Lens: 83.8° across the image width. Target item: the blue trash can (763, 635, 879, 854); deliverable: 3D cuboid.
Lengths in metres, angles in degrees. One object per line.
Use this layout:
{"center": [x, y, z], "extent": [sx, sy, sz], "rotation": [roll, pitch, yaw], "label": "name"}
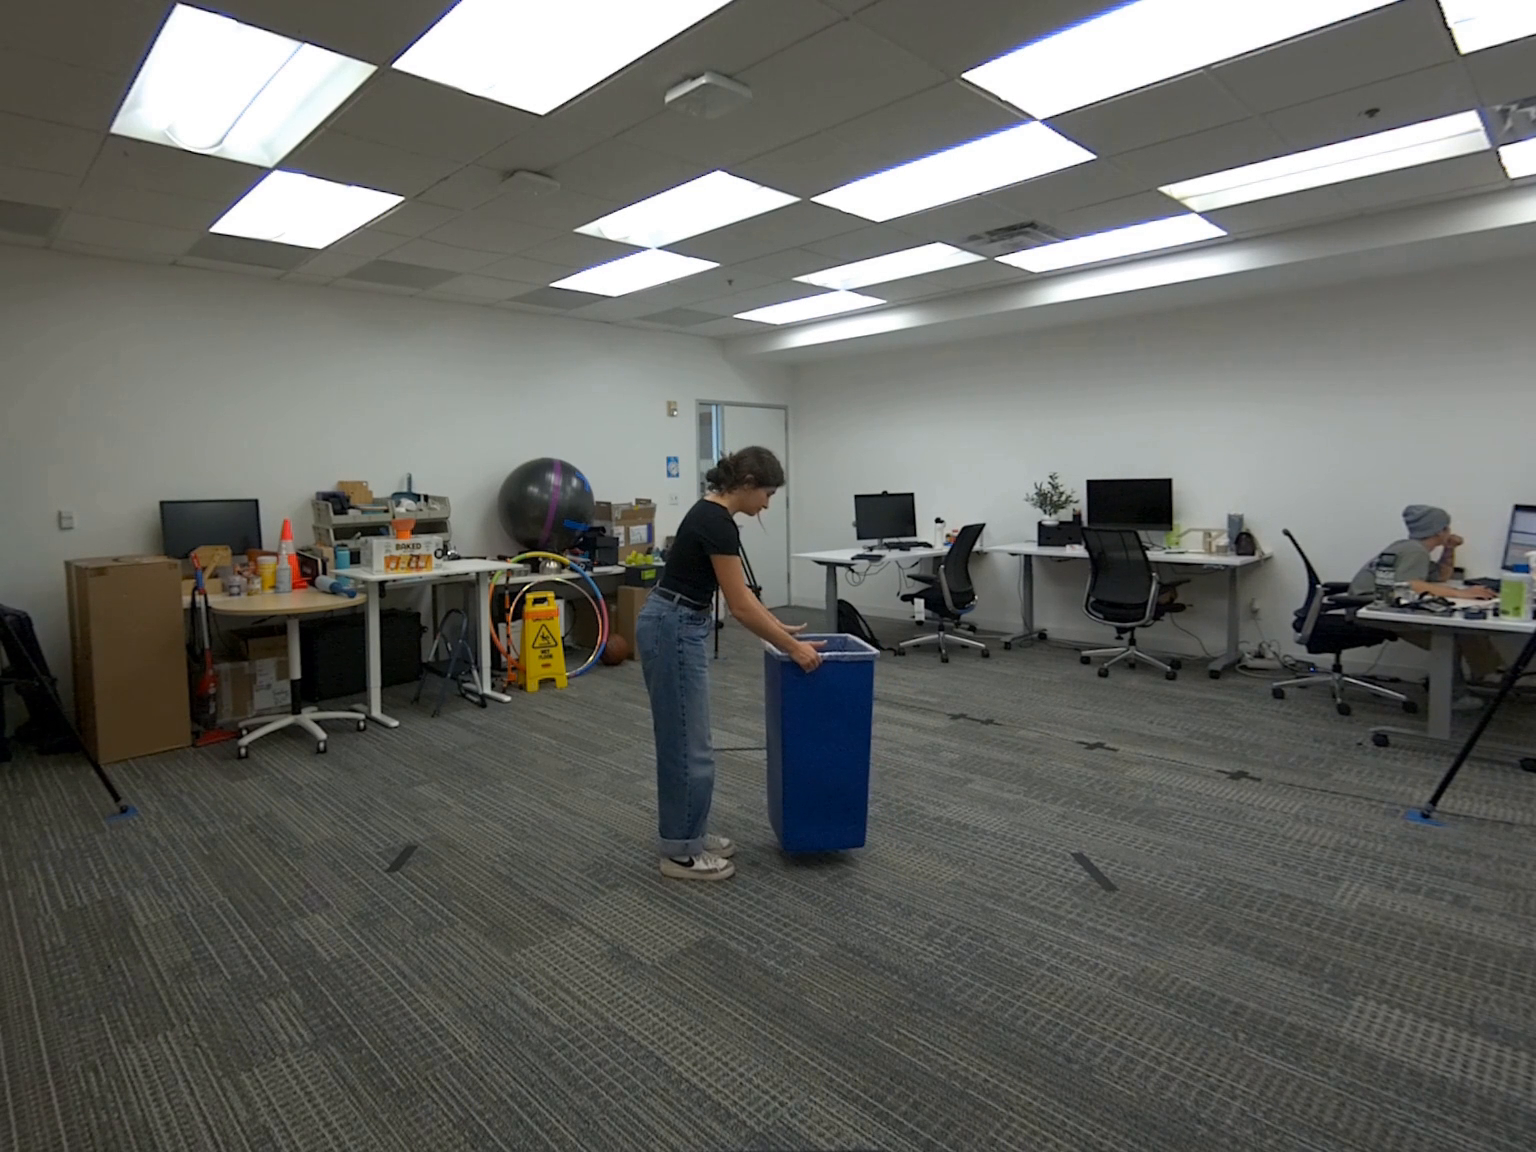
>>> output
{"center": [0.175, 0.604, 3.162], "extent": [0.375, 0.710, 0.379], "rotation": [0, 5, -10], "label": "blue trash can"}
